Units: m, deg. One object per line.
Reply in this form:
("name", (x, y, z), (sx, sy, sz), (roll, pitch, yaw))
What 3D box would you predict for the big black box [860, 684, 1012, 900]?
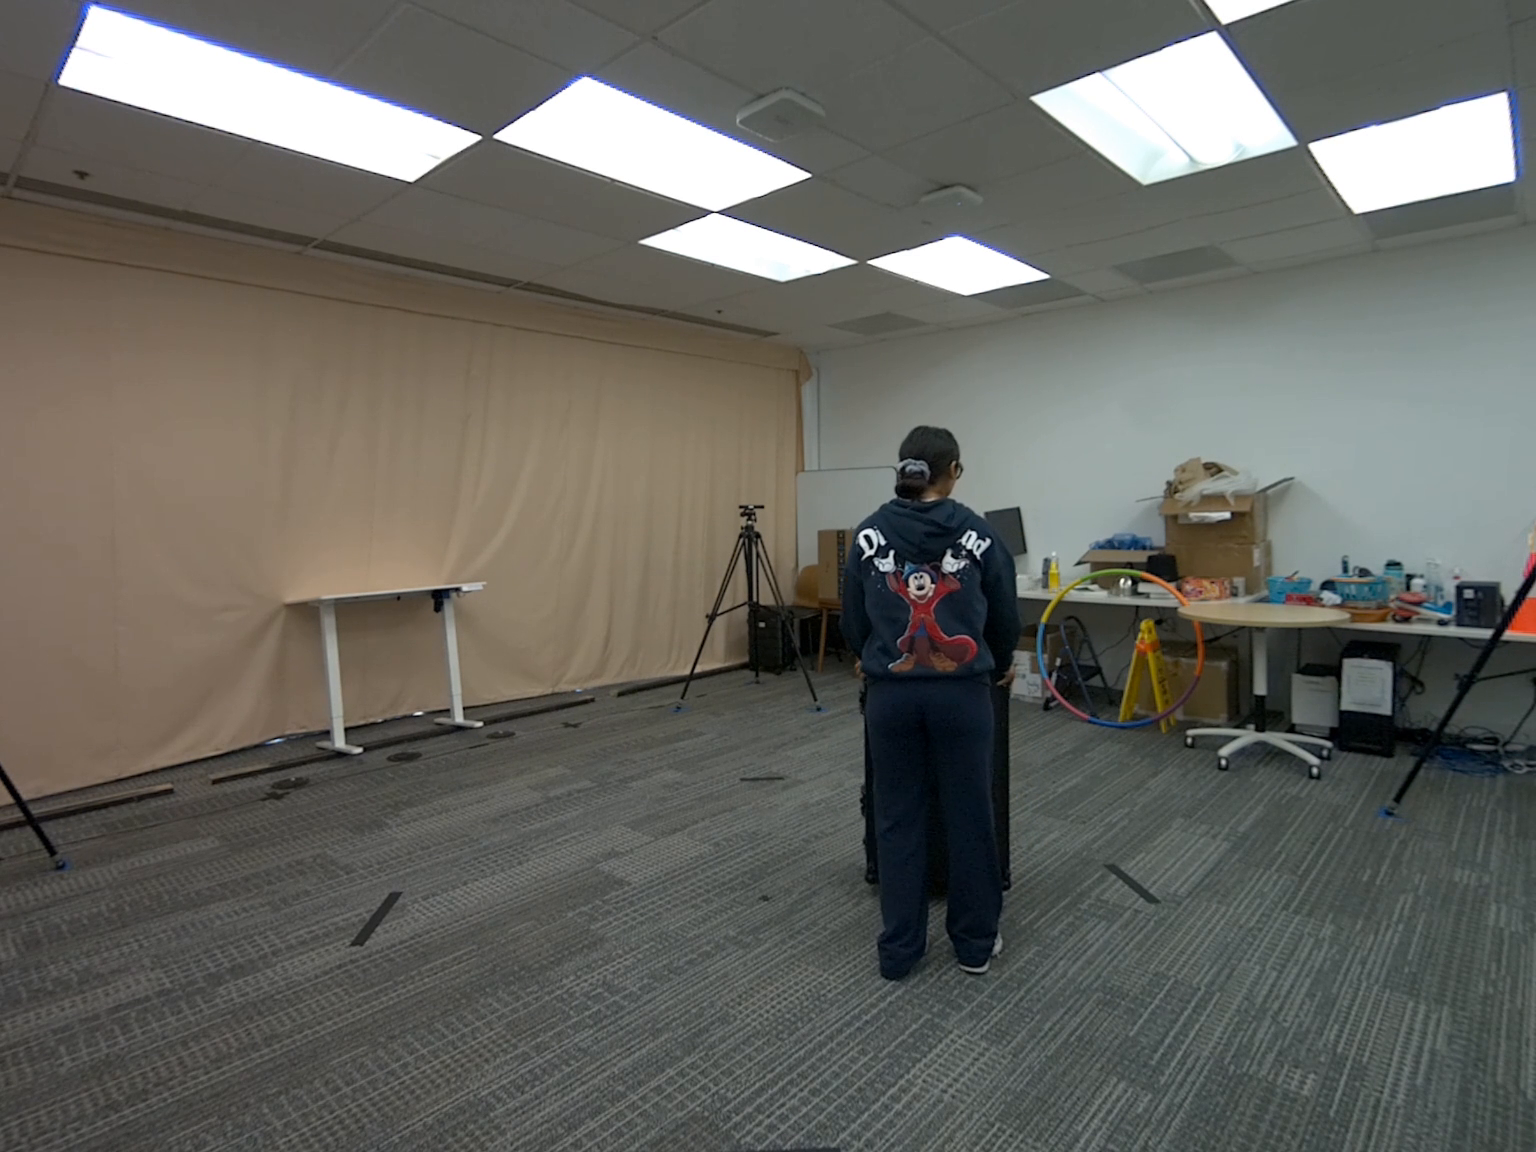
("big black box", (0.604, 0.702, 3.033), (0.527, 0.859, 0.393), (-1, 4, 9))
